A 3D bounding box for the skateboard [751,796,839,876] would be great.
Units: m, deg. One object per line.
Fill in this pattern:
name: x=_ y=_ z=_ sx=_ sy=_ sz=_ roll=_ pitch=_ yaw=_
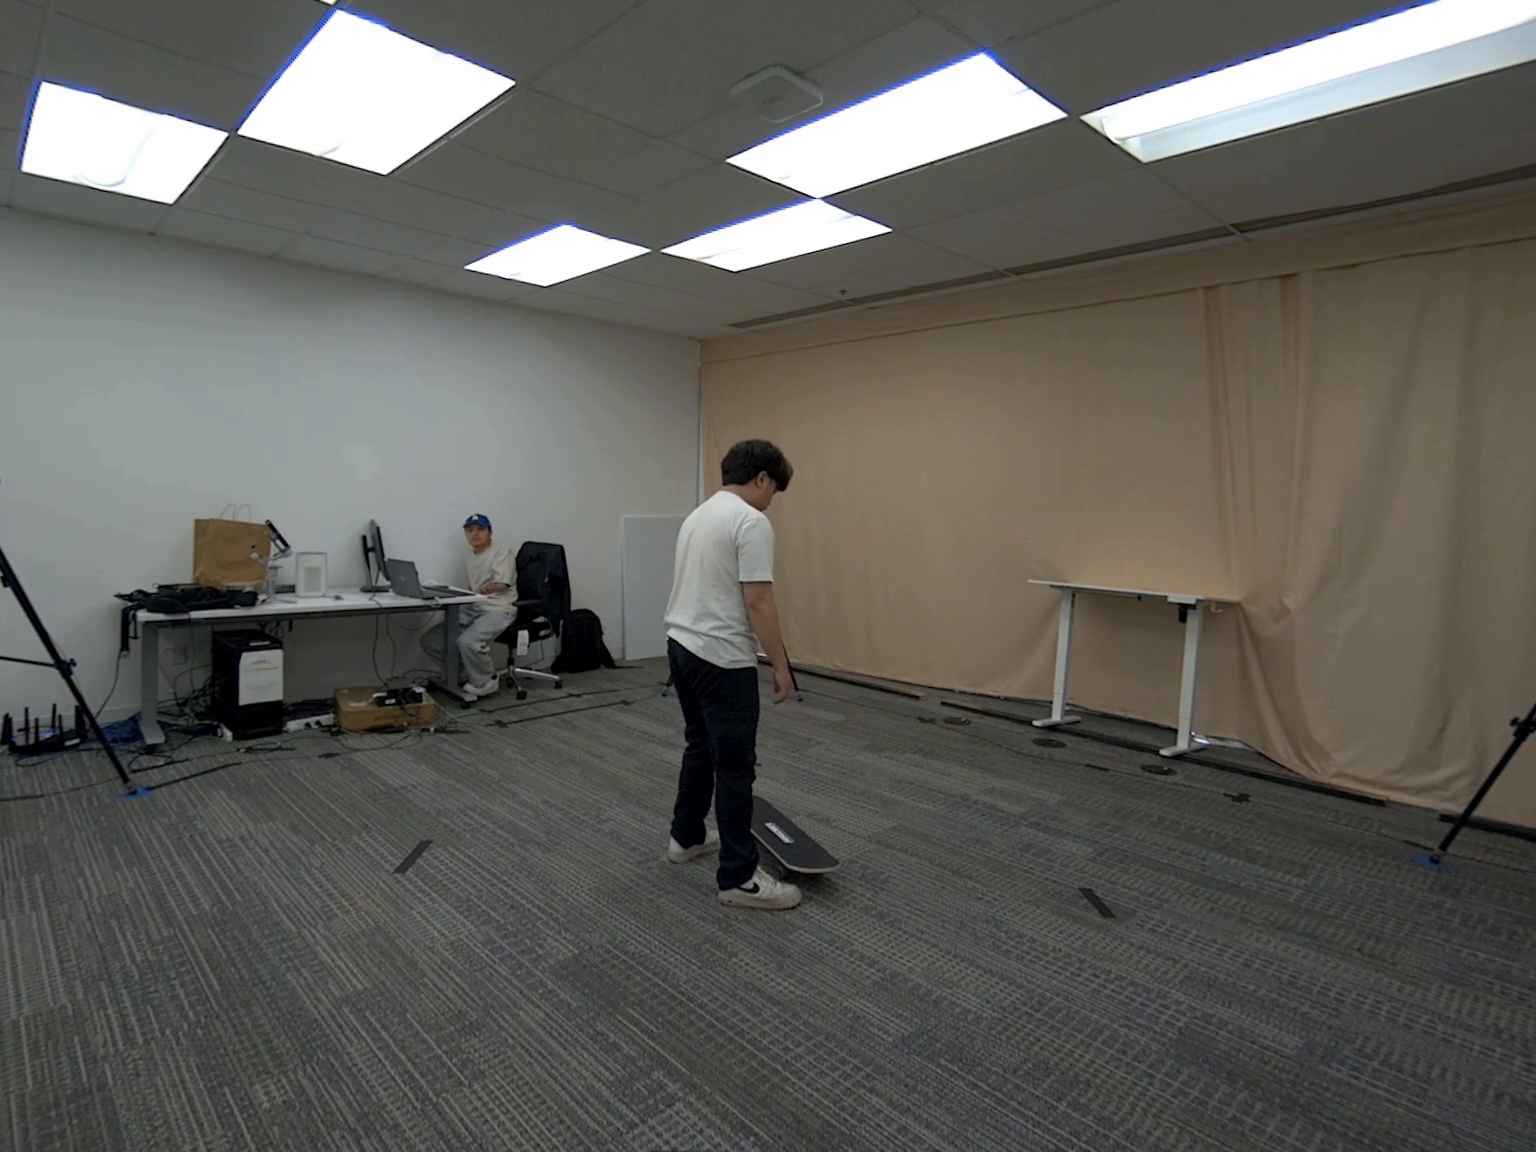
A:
skateboard: x=0.030 y=1.038 z=3.308 sx=0.190 sy=0.110 sz=0.801 roll=0 pitch=6 yaw=-23
